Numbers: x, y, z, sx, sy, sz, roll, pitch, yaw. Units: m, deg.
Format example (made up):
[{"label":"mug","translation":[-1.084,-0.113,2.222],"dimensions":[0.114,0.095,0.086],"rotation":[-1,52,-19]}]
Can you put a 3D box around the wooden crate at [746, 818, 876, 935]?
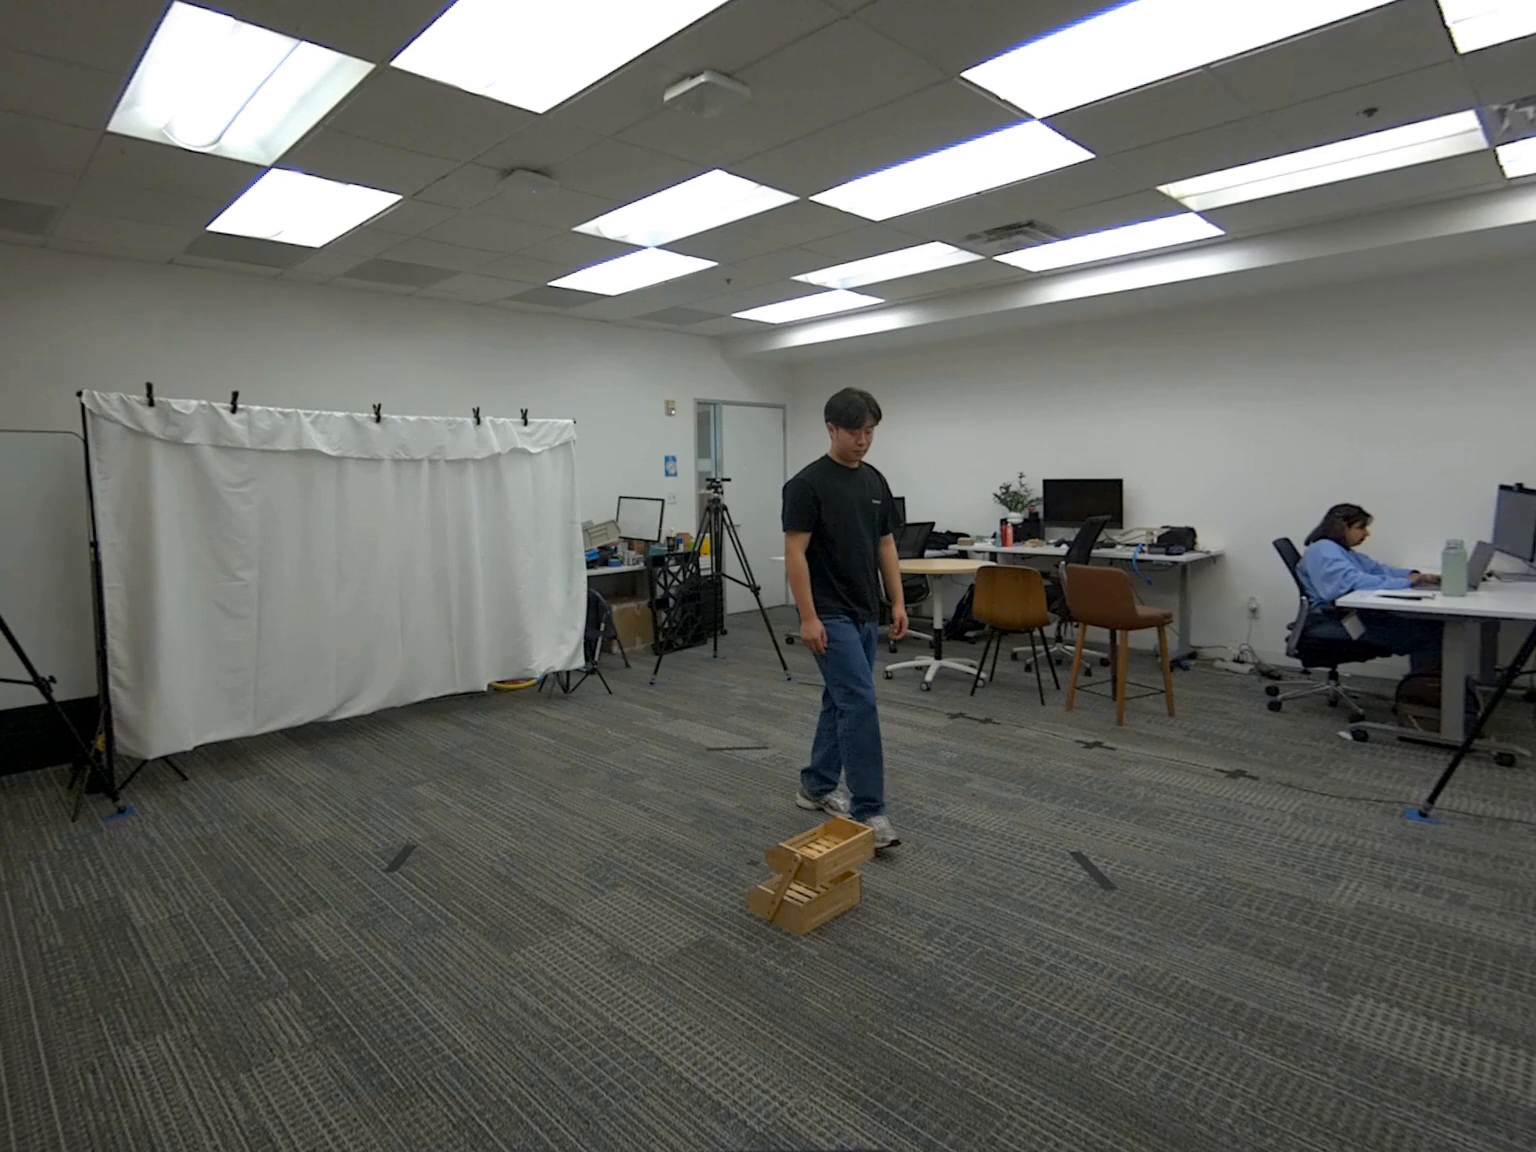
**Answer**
[{"label":"wooden crate","translation":[0.138,0.946,2.769],"dimensions":[0.311,0.272,0.316],"rotation":[5,9,44]}]
